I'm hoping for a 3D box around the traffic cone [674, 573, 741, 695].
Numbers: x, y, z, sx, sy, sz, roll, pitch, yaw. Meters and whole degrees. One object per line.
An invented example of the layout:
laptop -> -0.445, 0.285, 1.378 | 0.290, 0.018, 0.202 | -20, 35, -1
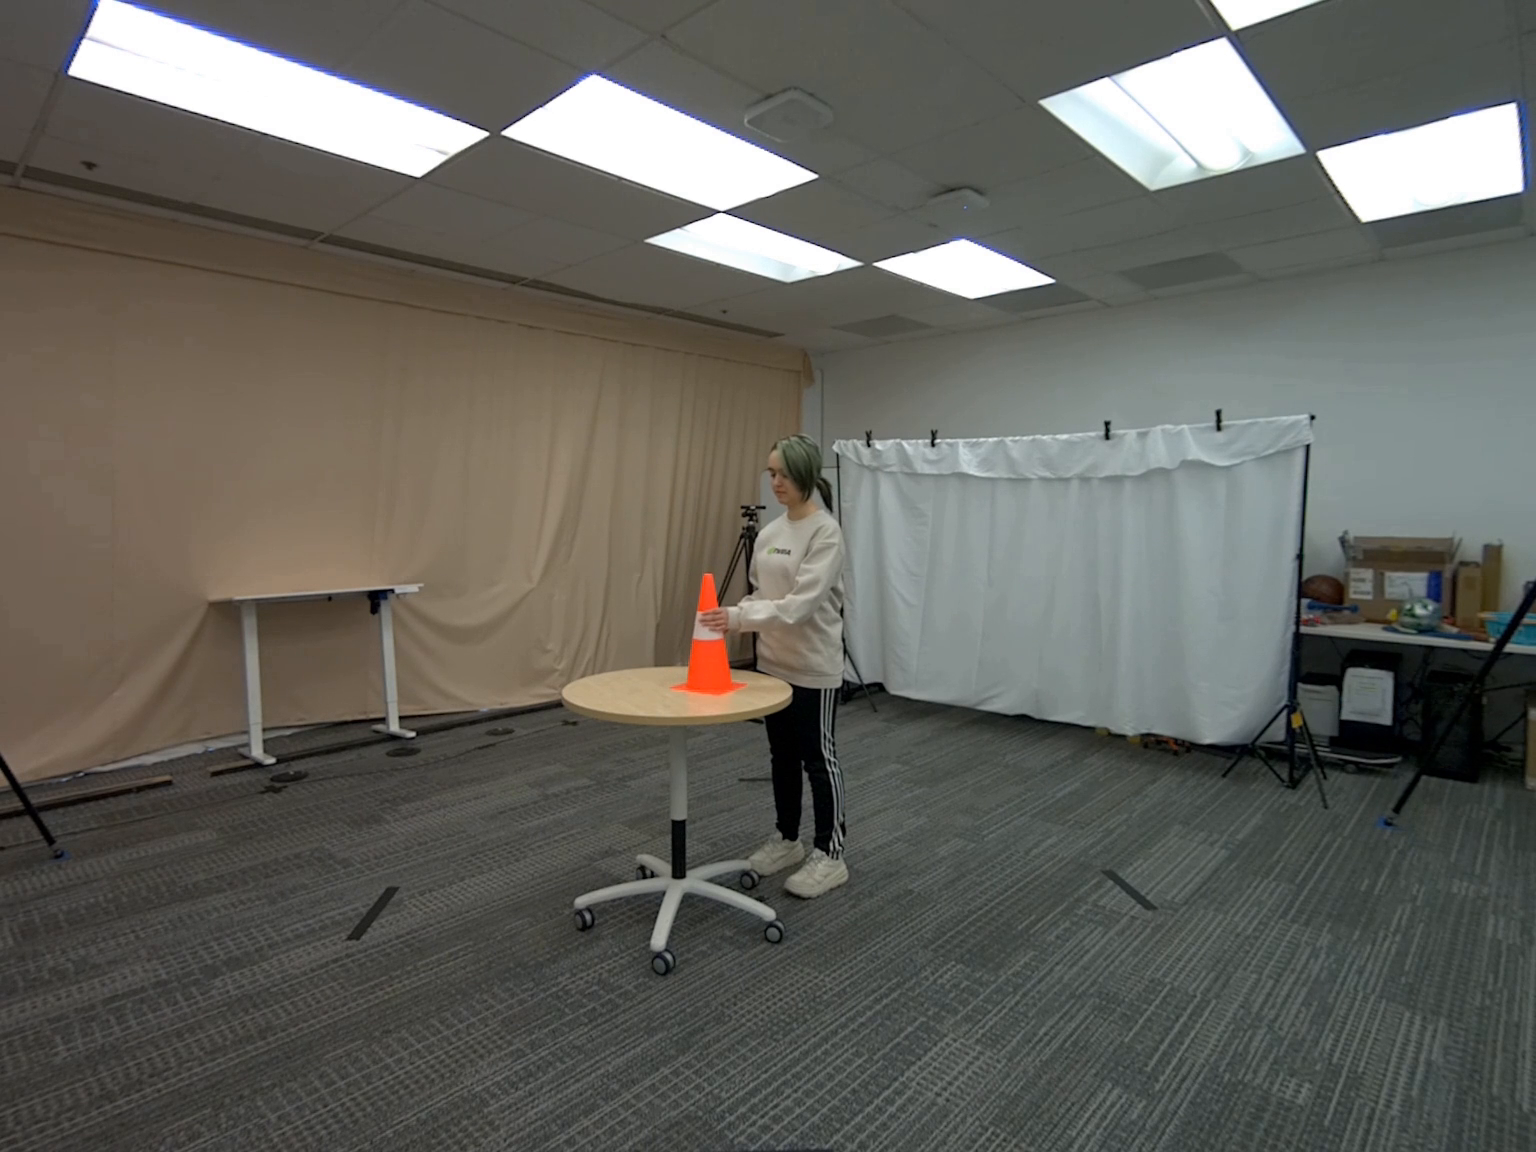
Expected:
traffic cone -> -0.198, 0.186, 2.834 | 0.210, 0.383, 0.198 | 1, 1, 26
